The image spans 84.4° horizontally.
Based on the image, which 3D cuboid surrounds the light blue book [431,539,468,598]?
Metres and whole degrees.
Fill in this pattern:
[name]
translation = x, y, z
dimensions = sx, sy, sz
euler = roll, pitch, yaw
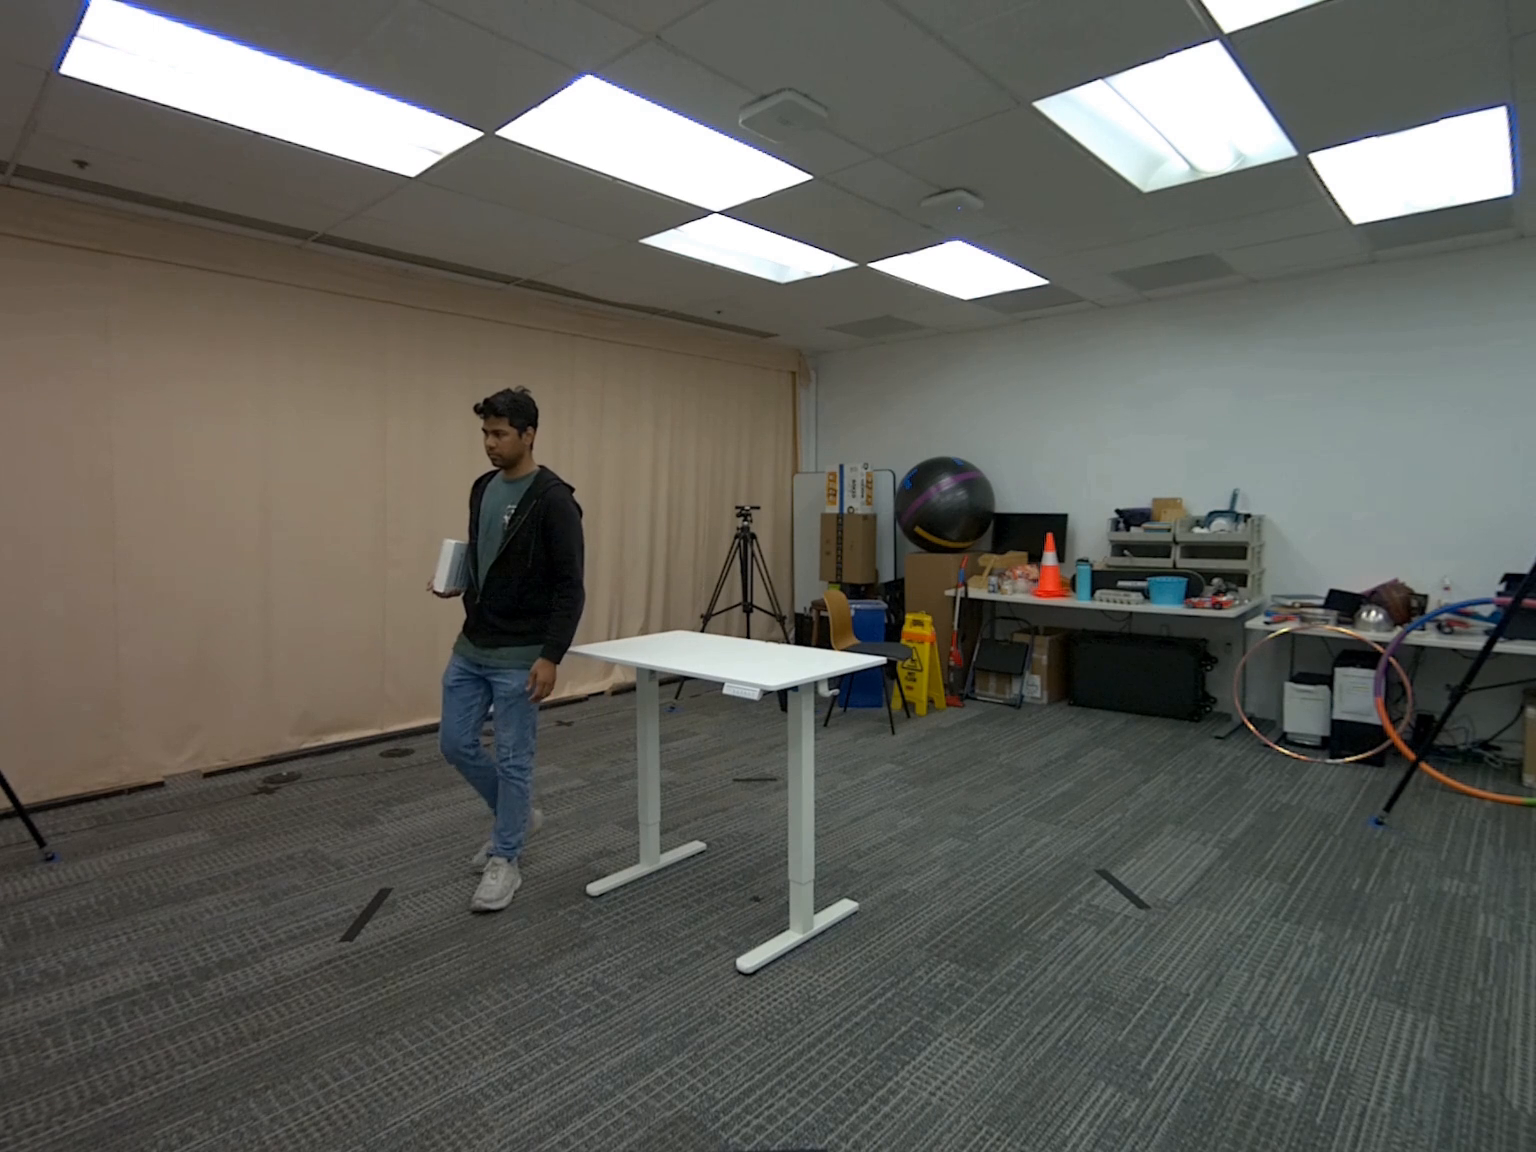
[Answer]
[light blue book]
translation = -1.085, -0.028, 3.090
dimensions = 0.061, 0.191, 0.254
euler = 15, 2, 24
